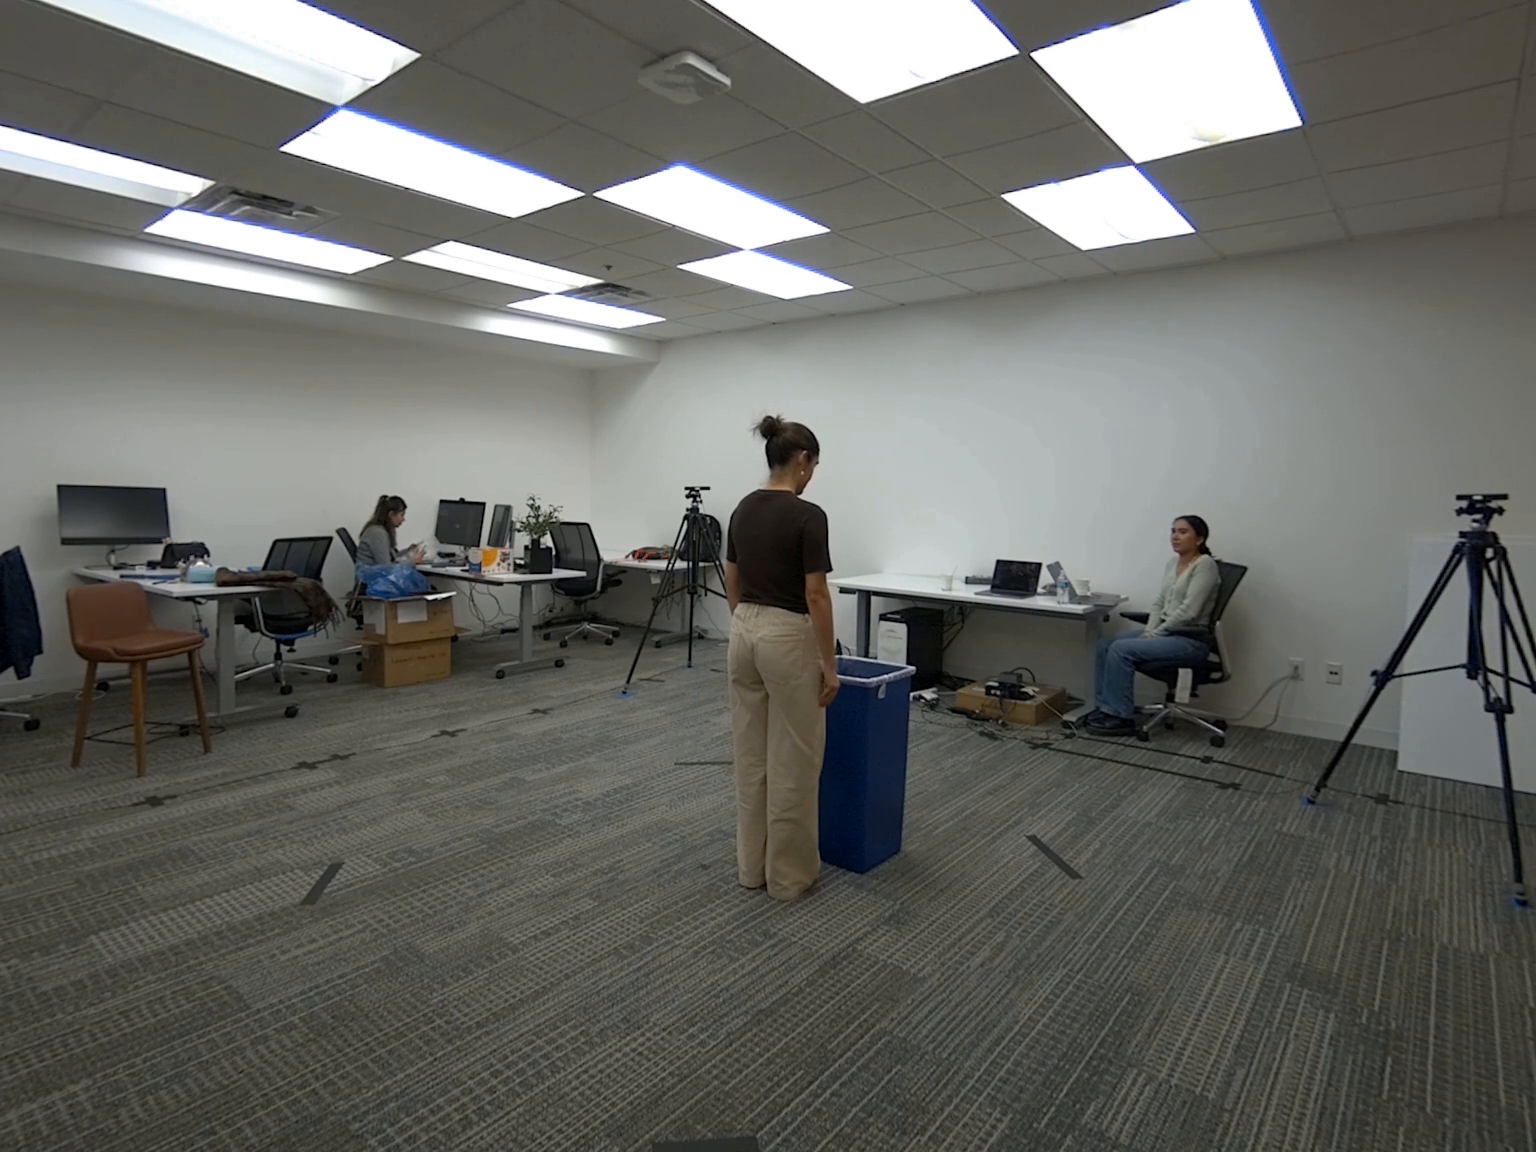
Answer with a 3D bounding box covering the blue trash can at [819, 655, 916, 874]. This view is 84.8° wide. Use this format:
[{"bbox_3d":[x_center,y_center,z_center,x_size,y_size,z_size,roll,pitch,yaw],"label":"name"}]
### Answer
[{"bbox_3d":[0.314,0.699,3.276,0.390,0.711,0.363,3,4,38],"label":"blue trash can"}]
